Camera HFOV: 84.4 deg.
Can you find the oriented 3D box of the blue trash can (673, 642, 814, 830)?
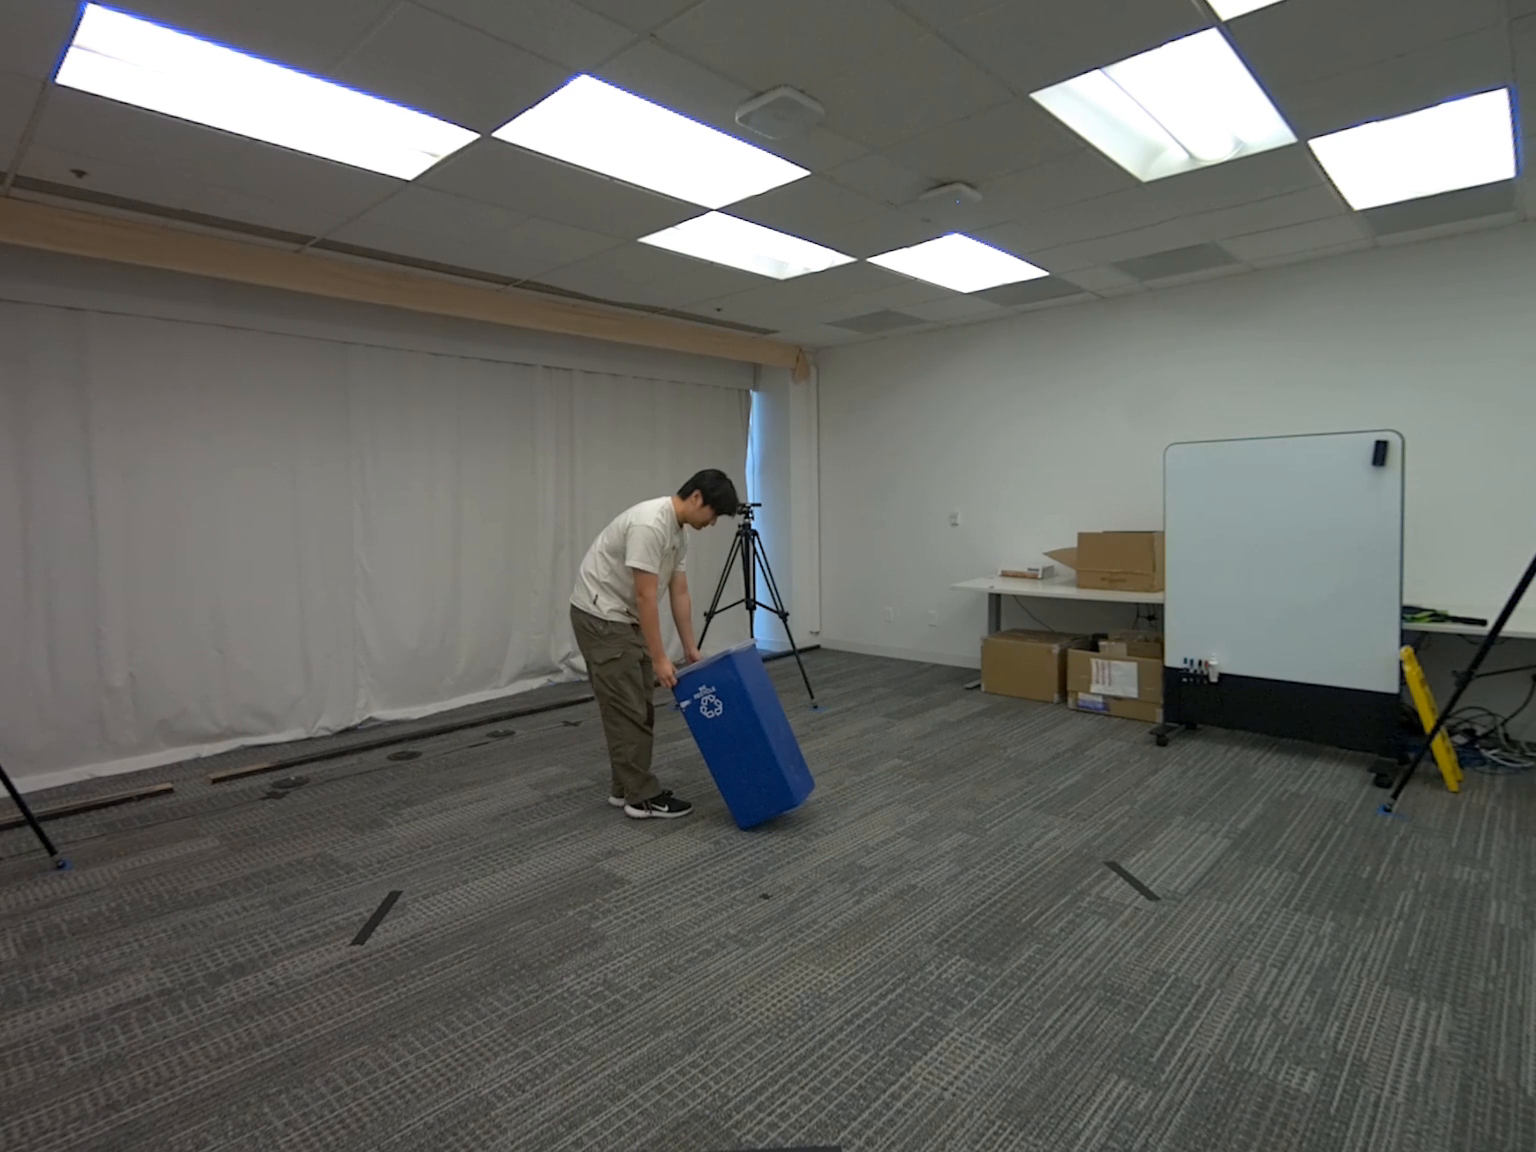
[{"bbox_3d":[-0.099,0.685,3.710,0.378,0.719,0.371,-28,-7,17],"label":"blue trash can"}]
